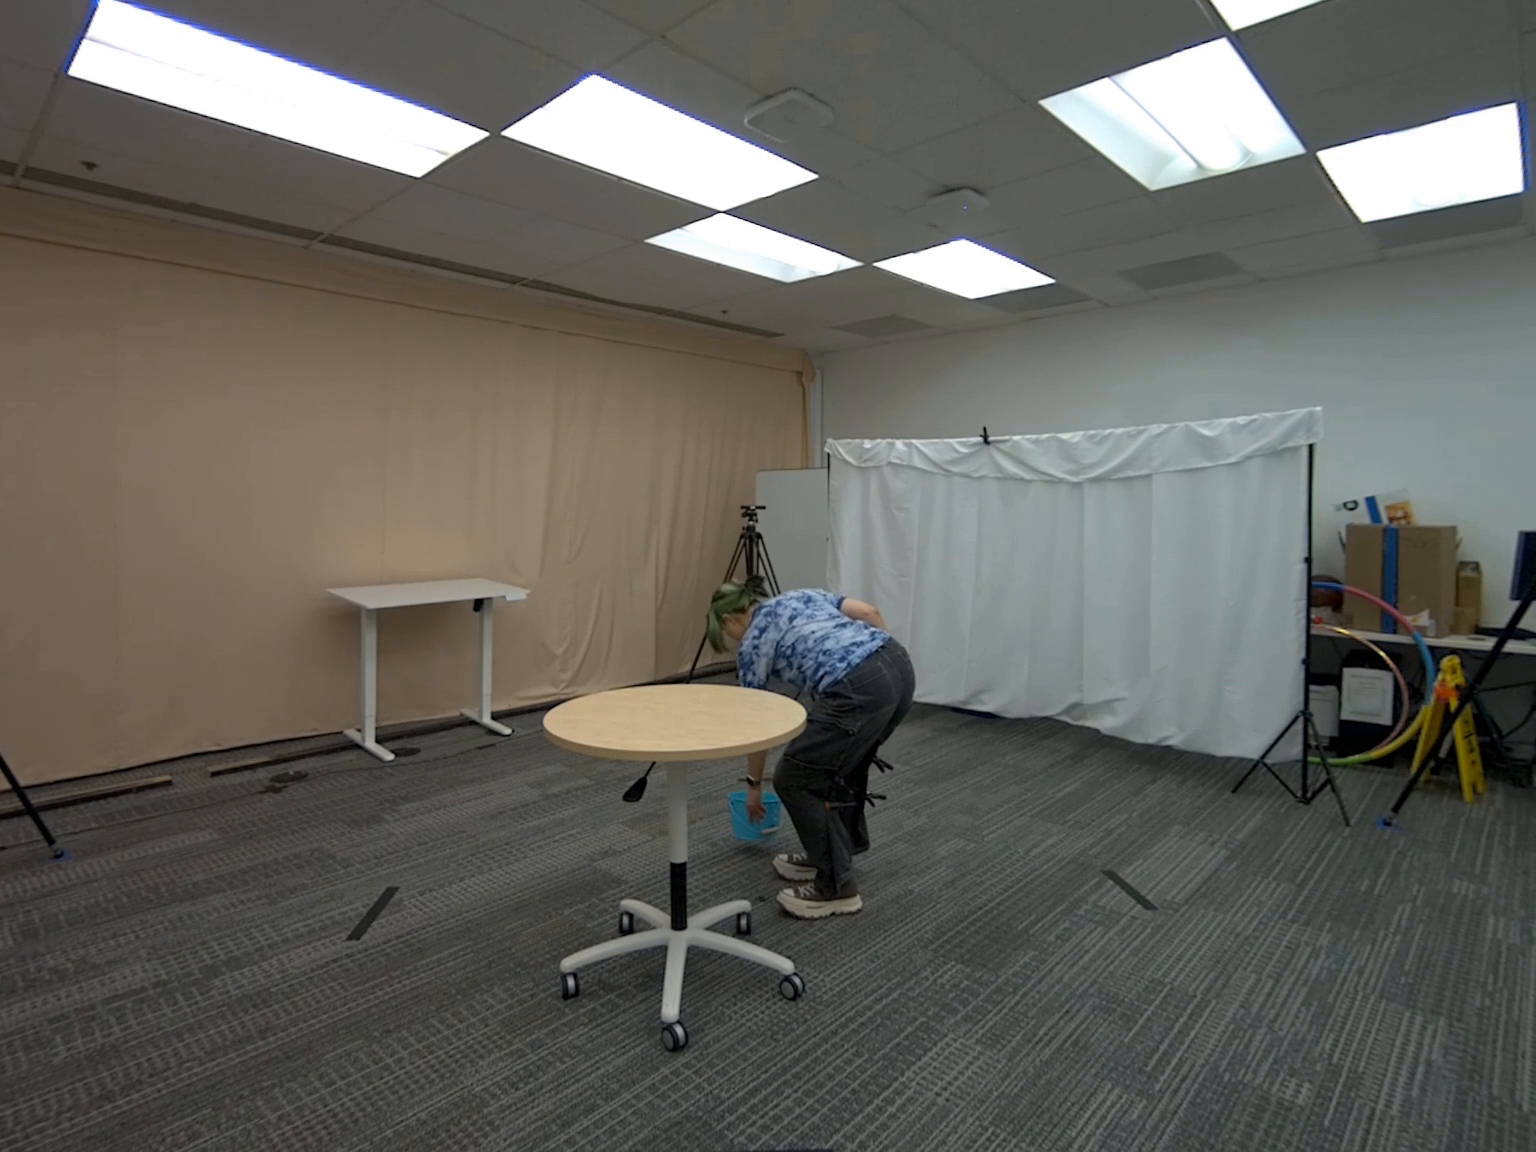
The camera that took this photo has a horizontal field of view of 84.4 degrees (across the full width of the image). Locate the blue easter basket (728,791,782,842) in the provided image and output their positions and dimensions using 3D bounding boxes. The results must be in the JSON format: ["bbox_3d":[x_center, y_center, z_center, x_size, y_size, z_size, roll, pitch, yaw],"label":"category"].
[{"bbox_3d":[-0.052,0.956,3.386,0.243,0.156,0.243,0,-4,-2],"label":"blue easter basket"}]
